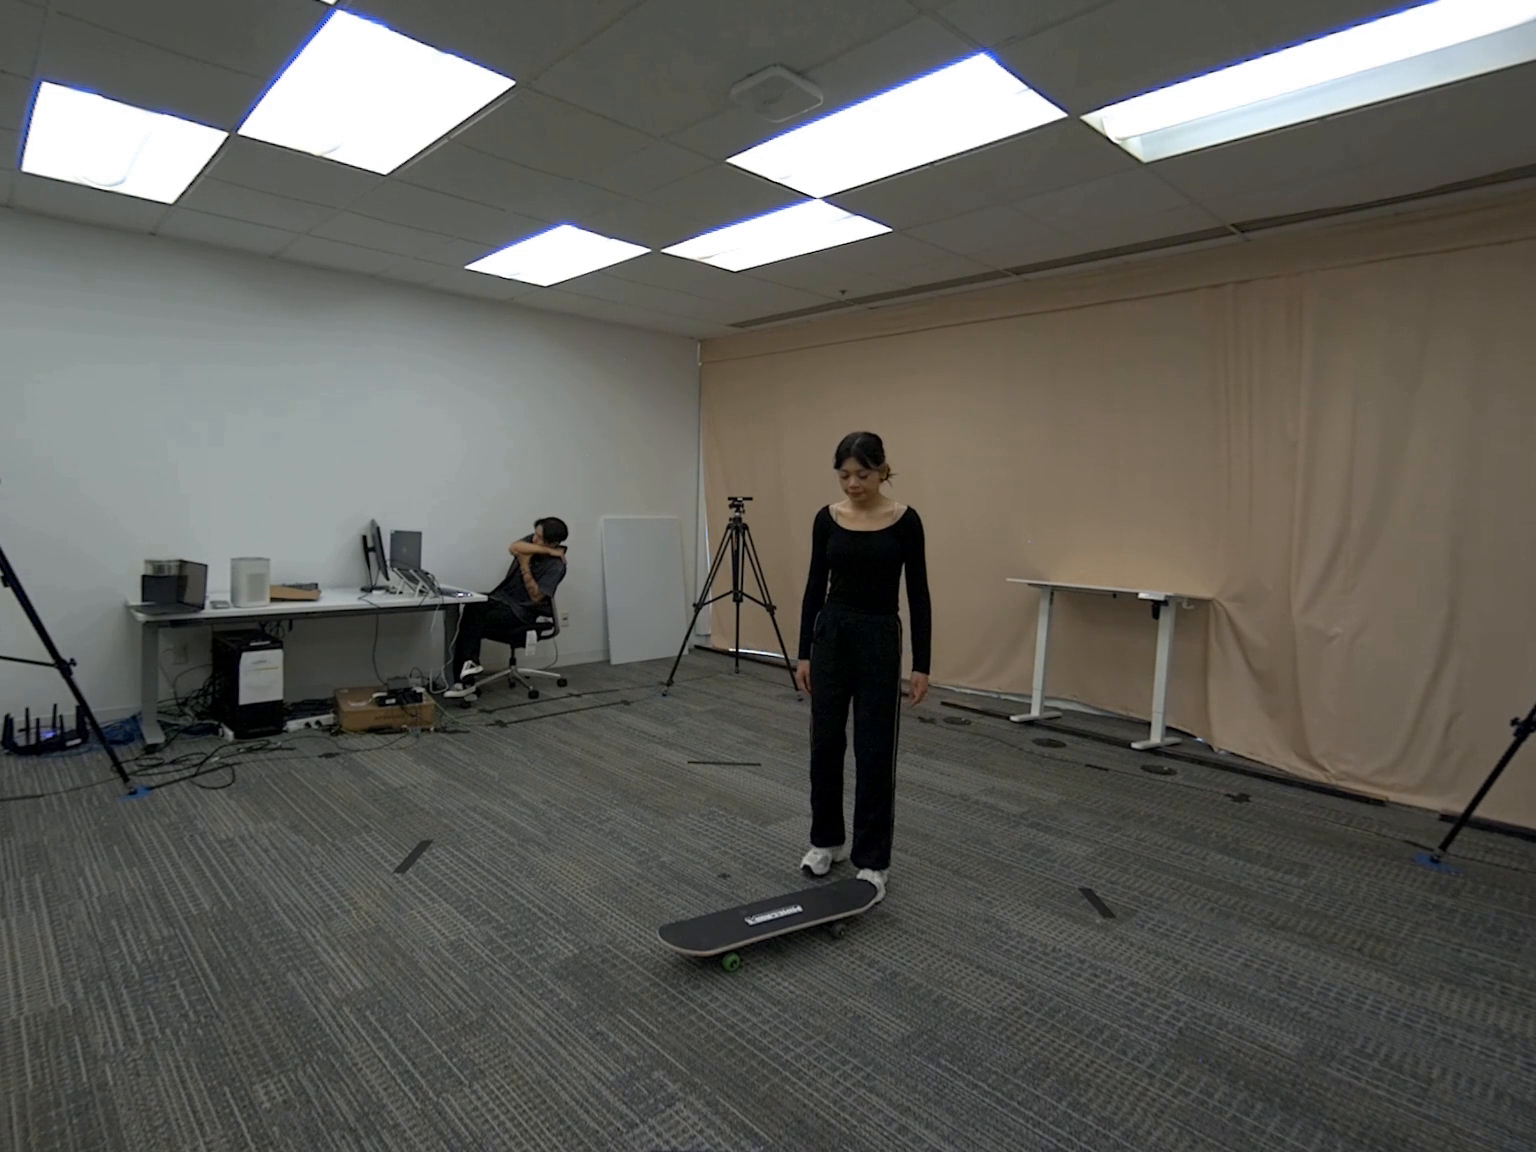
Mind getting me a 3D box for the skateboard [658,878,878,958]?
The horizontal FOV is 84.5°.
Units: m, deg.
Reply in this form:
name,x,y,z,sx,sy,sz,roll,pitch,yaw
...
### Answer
name,x,y,z,sx,sy,sz,roll,pitch,yaw
skateboard,0.018,1.096,2.637,0.769,0.110,0.198,-2,6,-30
